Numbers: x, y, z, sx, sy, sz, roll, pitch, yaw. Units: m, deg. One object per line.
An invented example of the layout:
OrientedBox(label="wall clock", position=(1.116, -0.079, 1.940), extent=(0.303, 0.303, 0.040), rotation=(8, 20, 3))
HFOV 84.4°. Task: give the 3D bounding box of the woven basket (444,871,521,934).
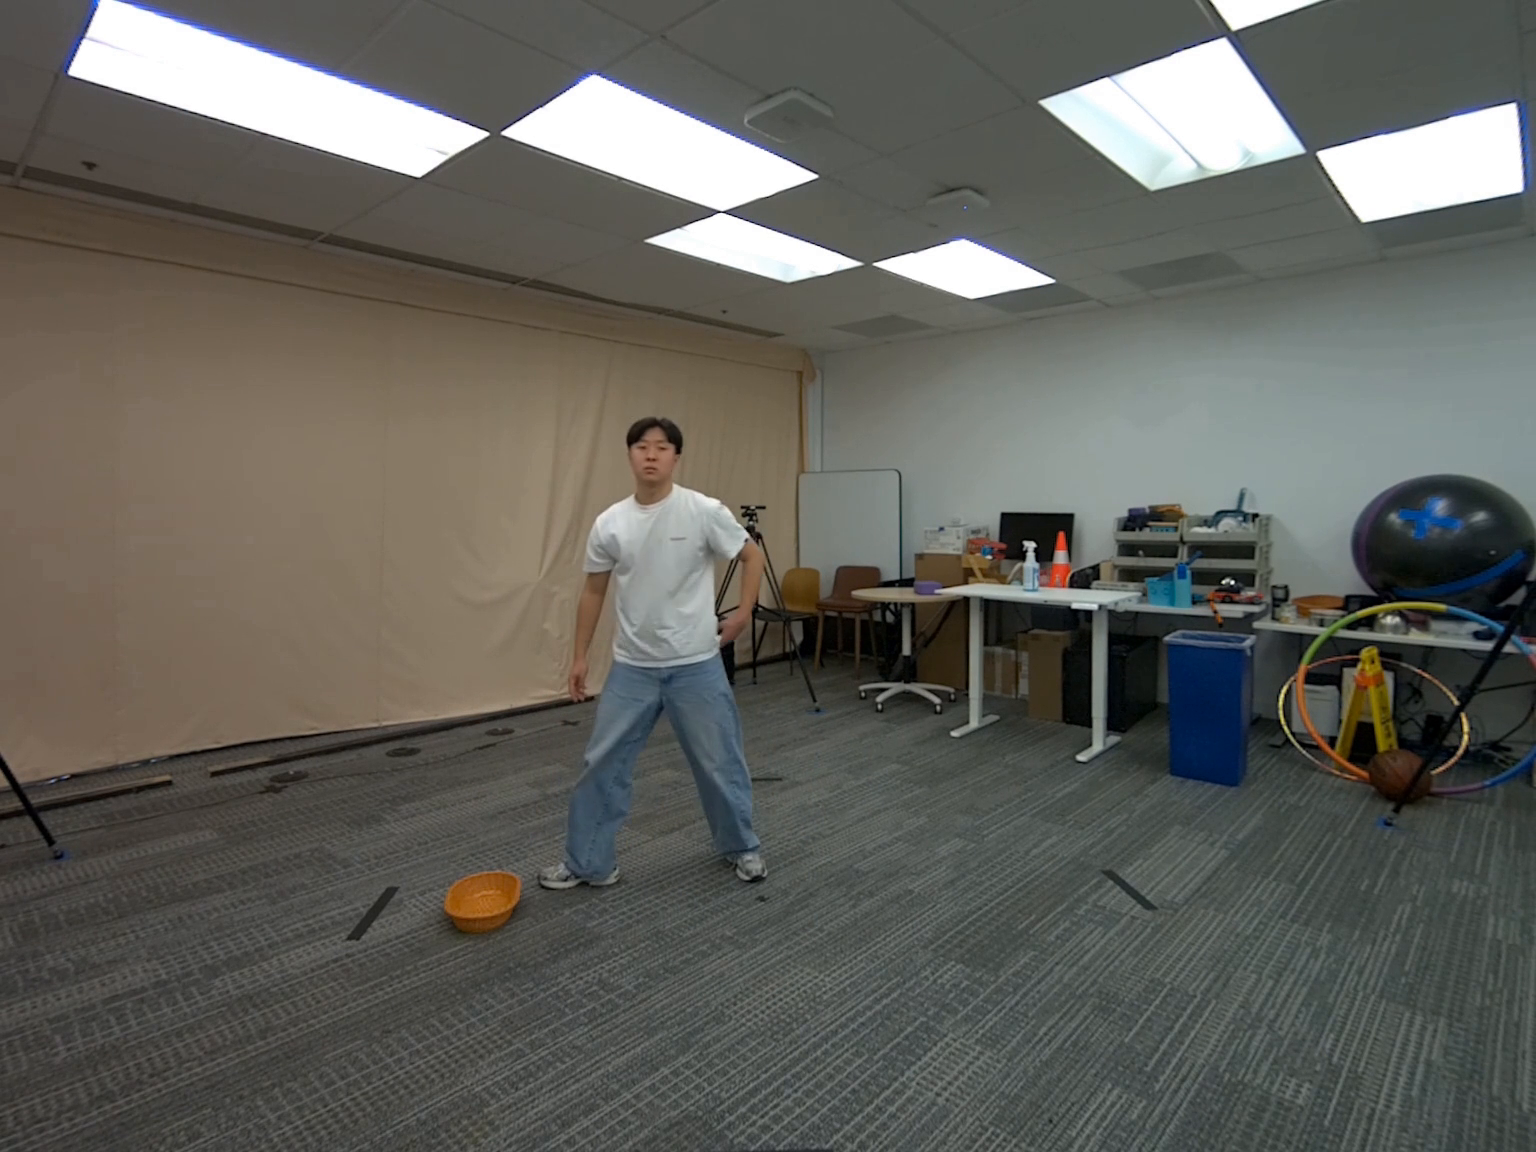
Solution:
OrientedBox(label="woven basket", position=(-0.979, 1.122, 2.893), extent=(0.250, 0.073, 0.355), rotation=(-1, 4, -10))
